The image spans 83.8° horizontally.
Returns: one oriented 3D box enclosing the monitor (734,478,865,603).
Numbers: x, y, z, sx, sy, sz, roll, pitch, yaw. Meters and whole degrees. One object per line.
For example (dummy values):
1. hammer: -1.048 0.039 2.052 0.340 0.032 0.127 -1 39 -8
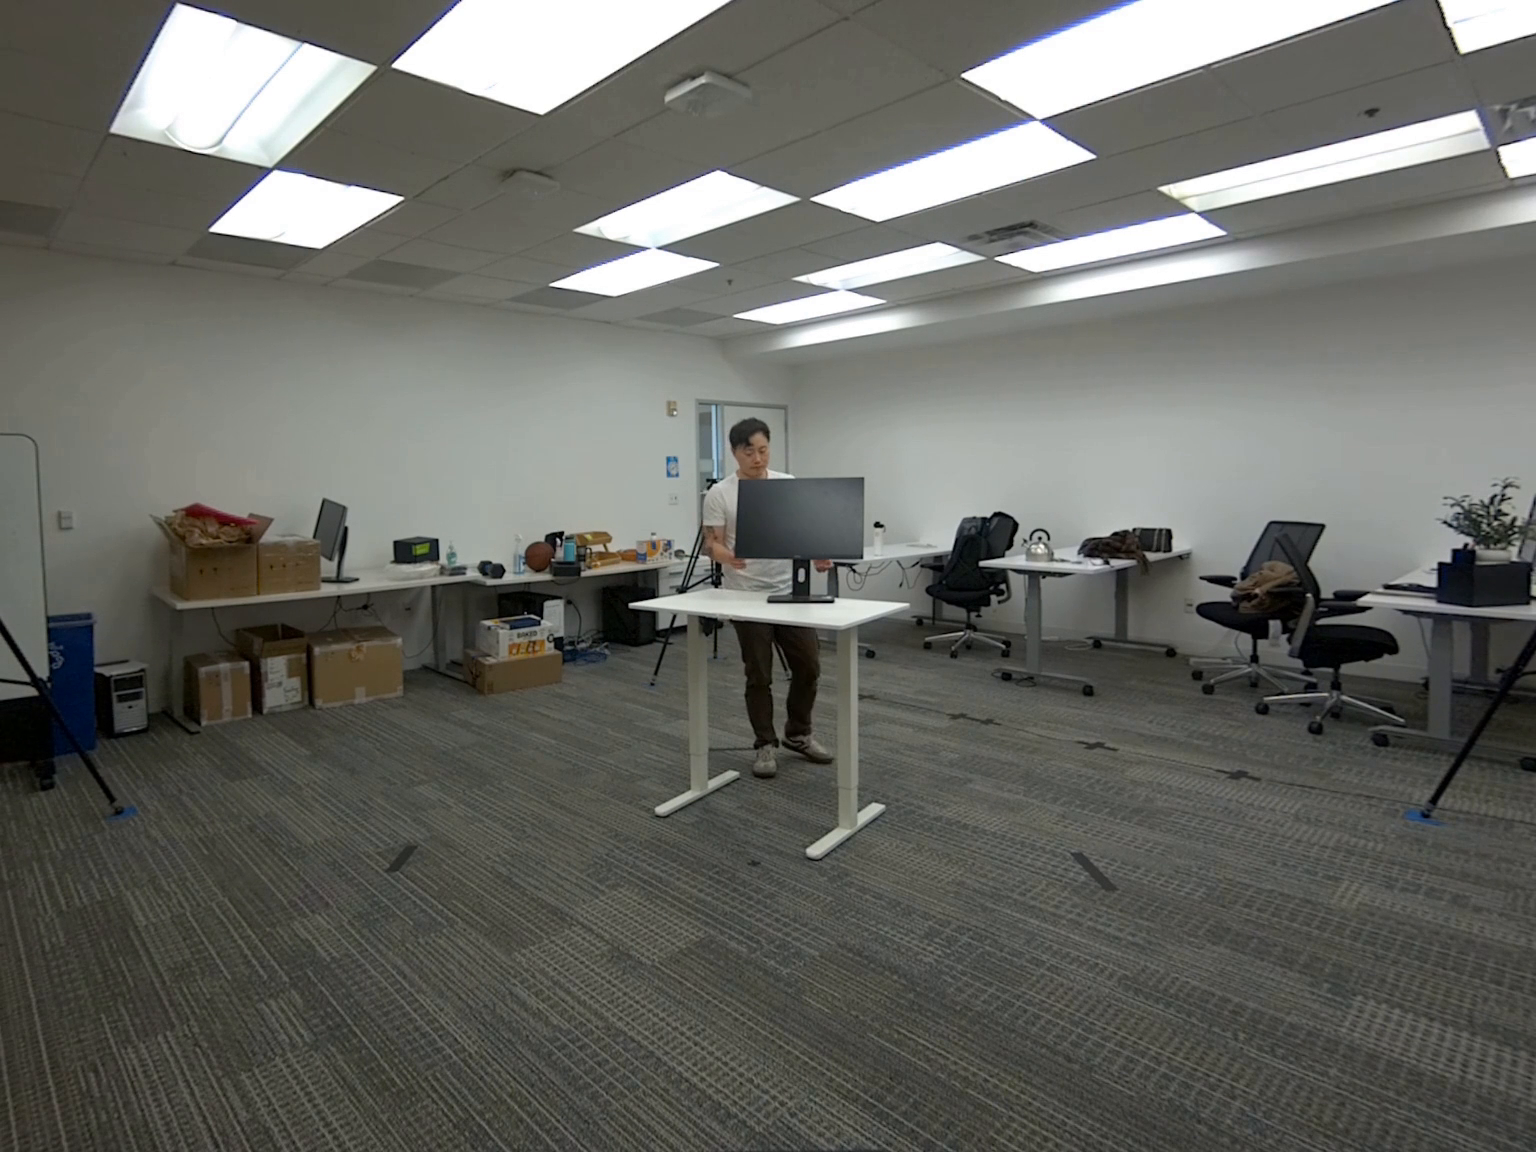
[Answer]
1. monitor: 0.134 -0.151 3.613 0.544 0.522 0.185 0 0 9
